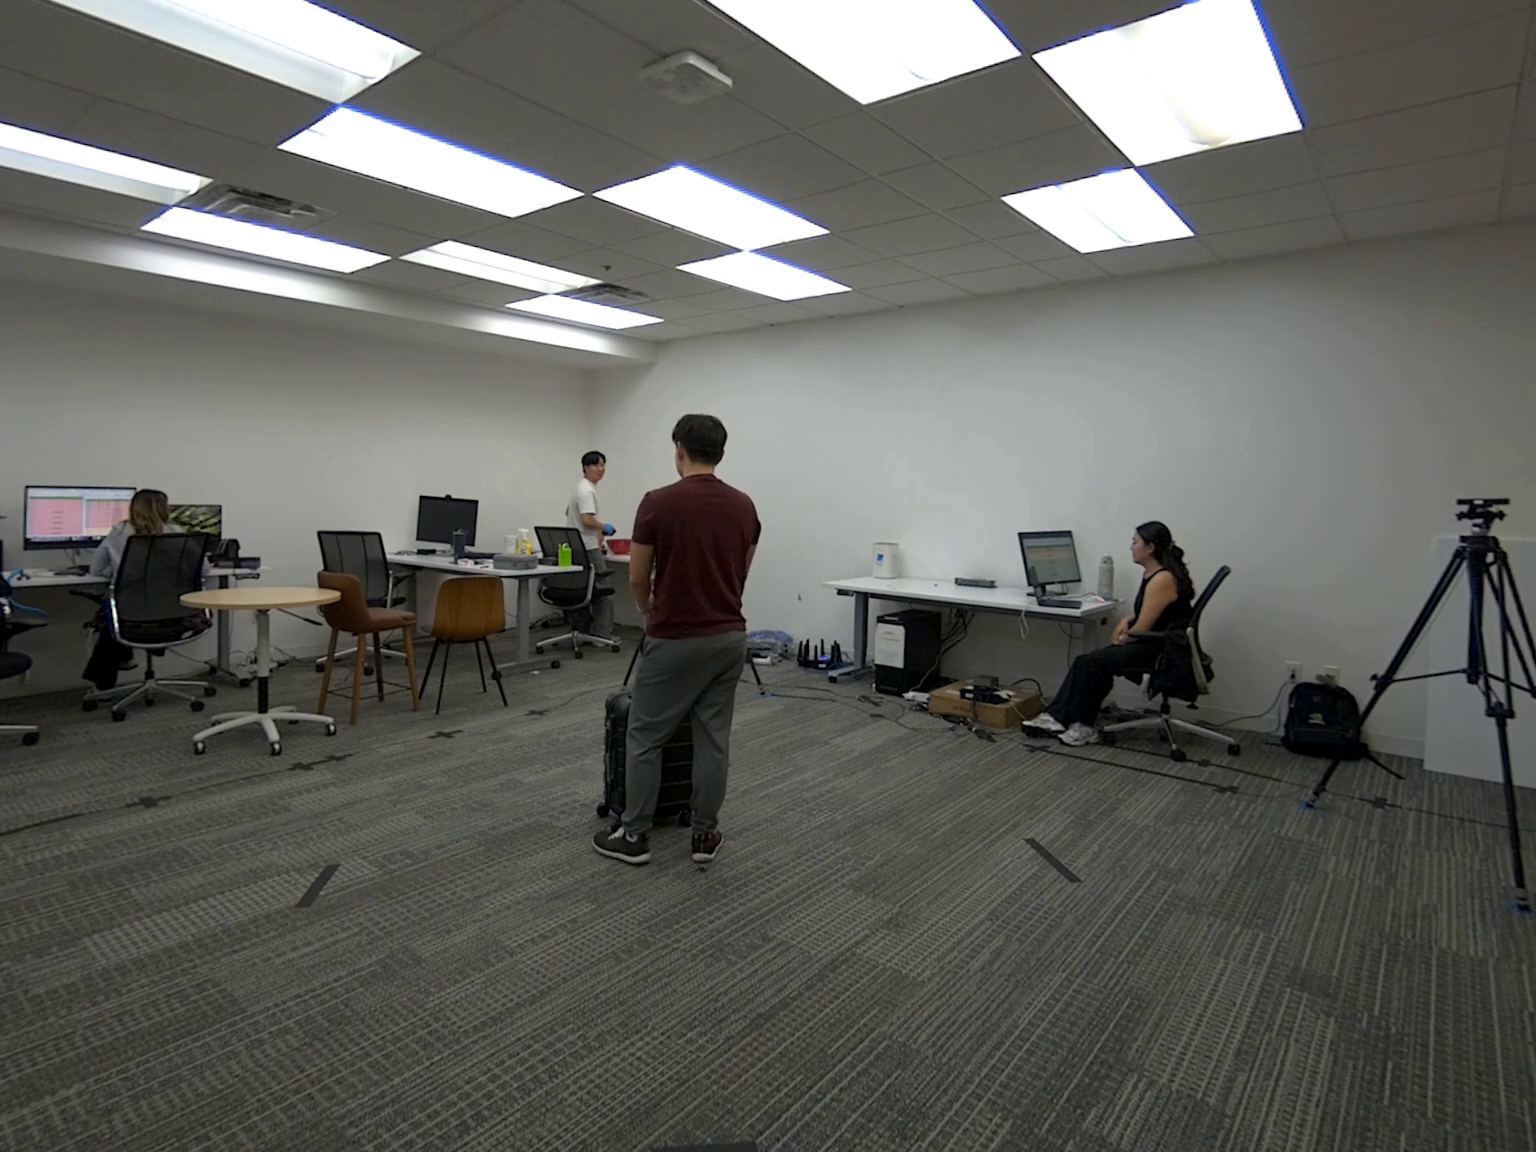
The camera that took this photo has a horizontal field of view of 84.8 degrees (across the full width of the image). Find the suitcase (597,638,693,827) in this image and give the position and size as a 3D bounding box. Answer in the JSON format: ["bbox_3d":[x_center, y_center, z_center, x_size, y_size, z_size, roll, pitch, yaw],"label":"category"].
[{"bbox_3d":[-0.516,0.549,3.568,0.375,0.979,0.263,1,0,-23],"label":"suitcase"}]
